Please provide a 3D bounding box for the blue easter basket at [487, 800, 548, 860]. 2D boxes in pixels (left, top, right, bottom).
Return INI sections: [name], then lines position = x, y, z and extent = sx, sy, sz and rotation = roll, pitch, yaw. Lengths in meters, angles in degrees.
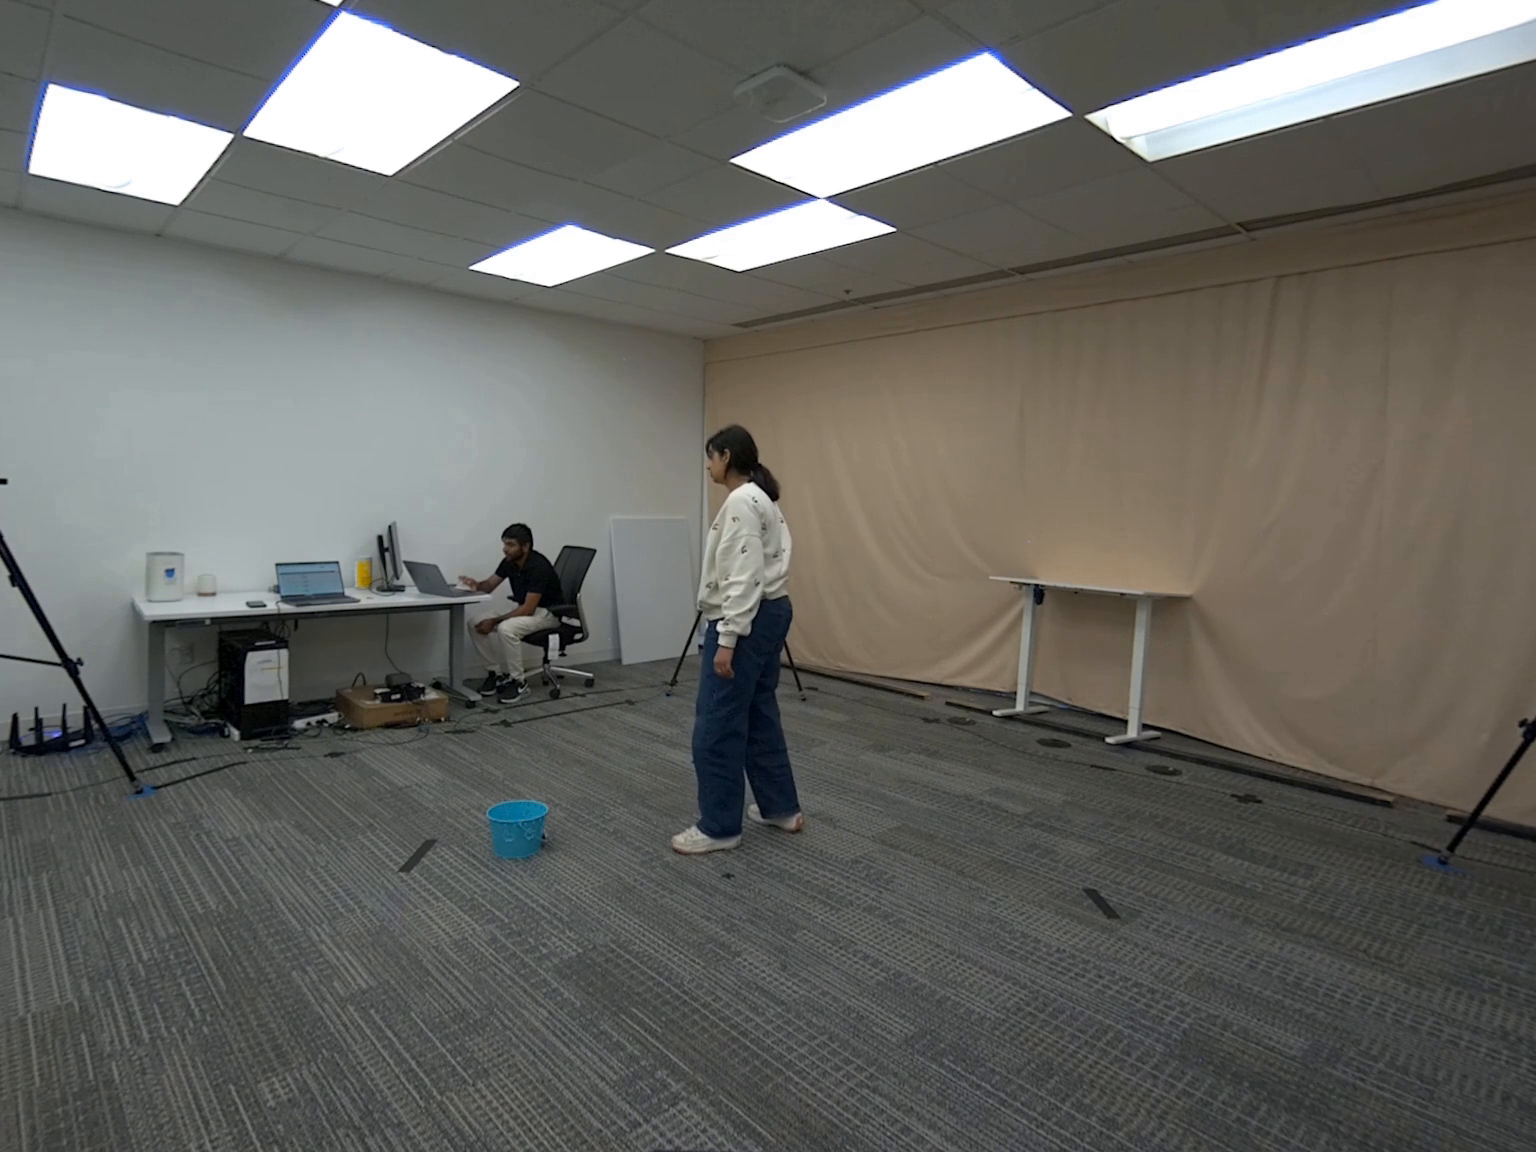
[blue easter basket]
position = -0.981, 0.990, 3.294
extent = 0.243, 0.155, 0.244
rotation = 2, 5, -2
